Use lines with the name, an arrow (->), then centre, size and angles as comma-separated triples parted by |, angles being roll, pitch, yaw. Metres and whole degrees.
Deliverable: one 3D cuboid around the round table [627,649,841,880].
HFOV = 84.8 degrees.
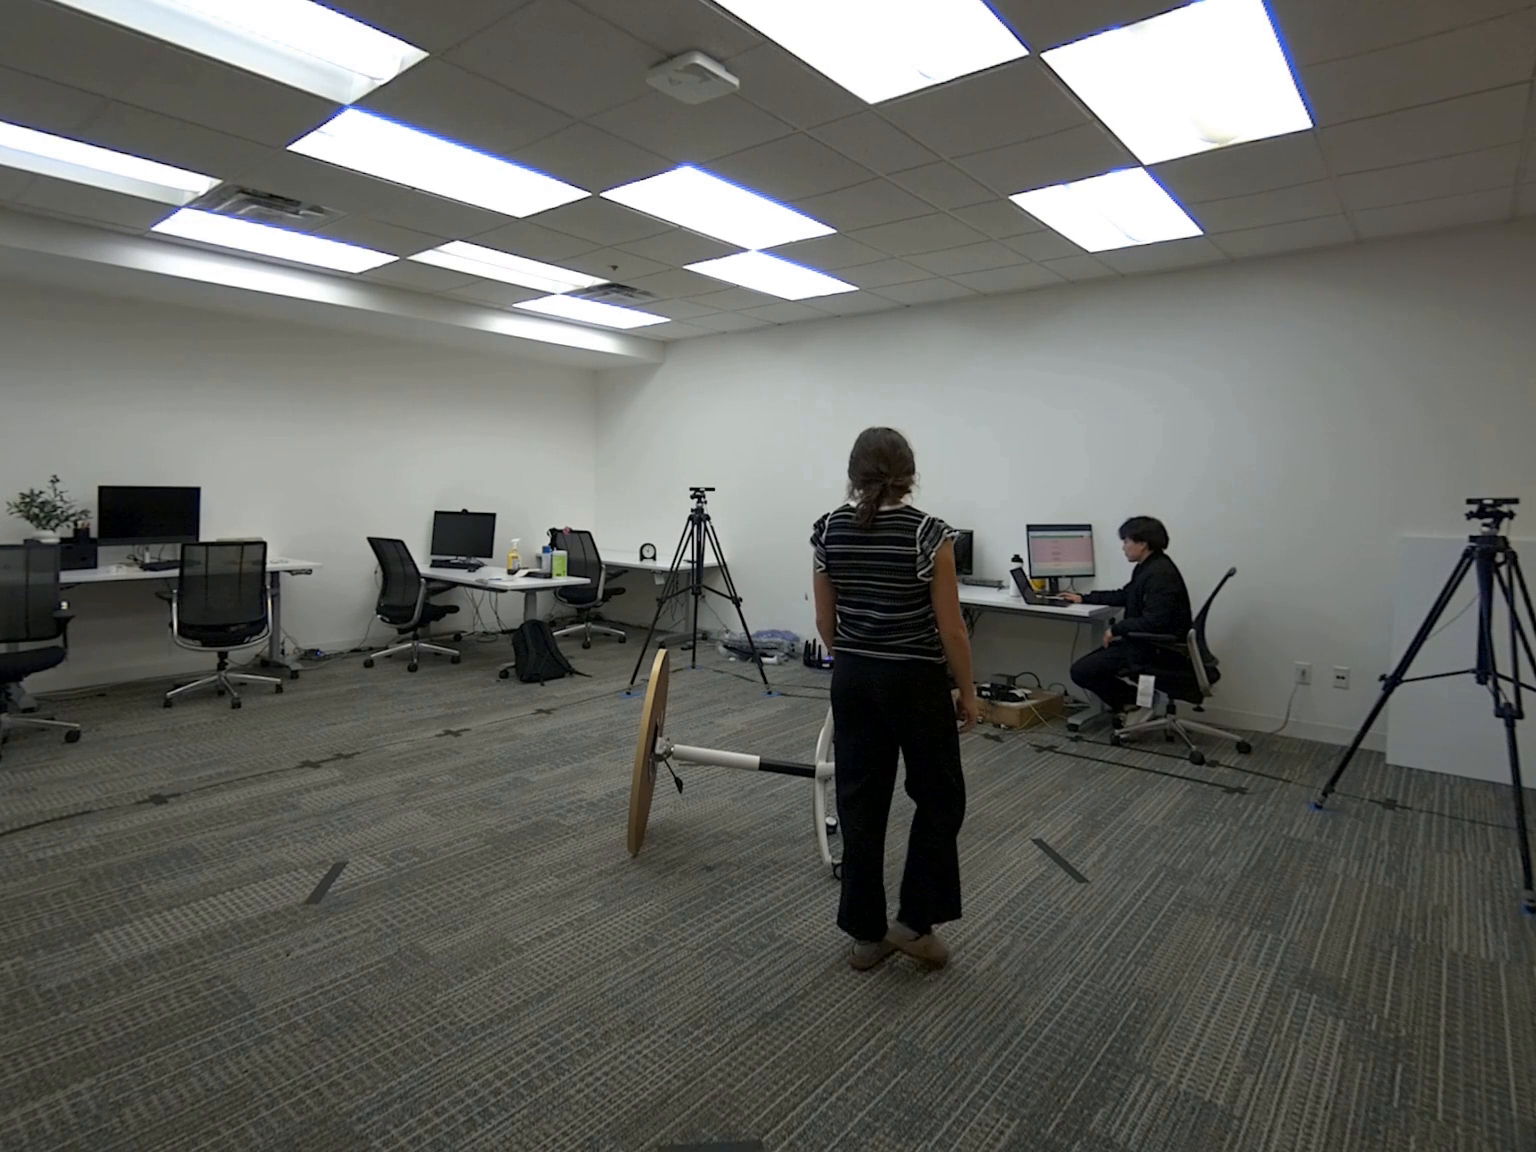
round table -> -0.082, 0.712, 3.280 | 0.788, 0.783, 0.786 | 7, 4, 1
